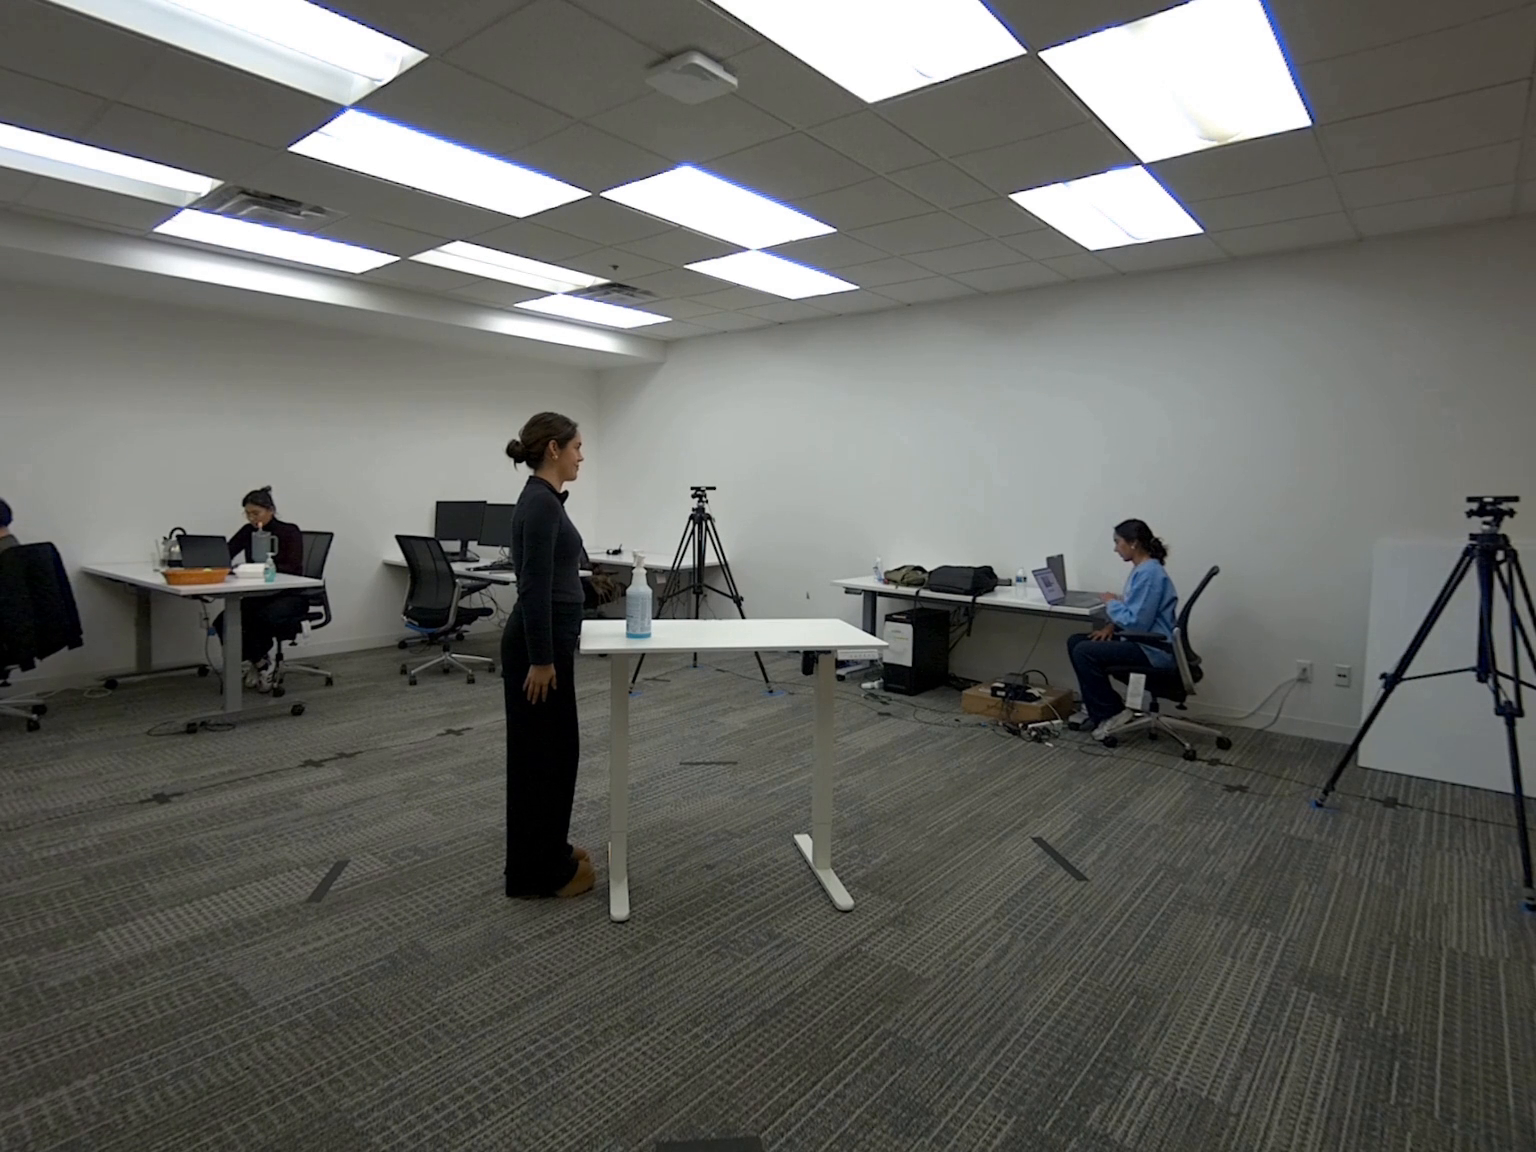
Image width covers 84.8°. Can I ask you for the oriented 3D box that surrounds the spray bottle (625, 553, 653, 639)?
[{"bbox_3d":[-0.459,0.061,2.875,0.090,0.296,0.087,2,4,40],"label":"spray bottle"}]
